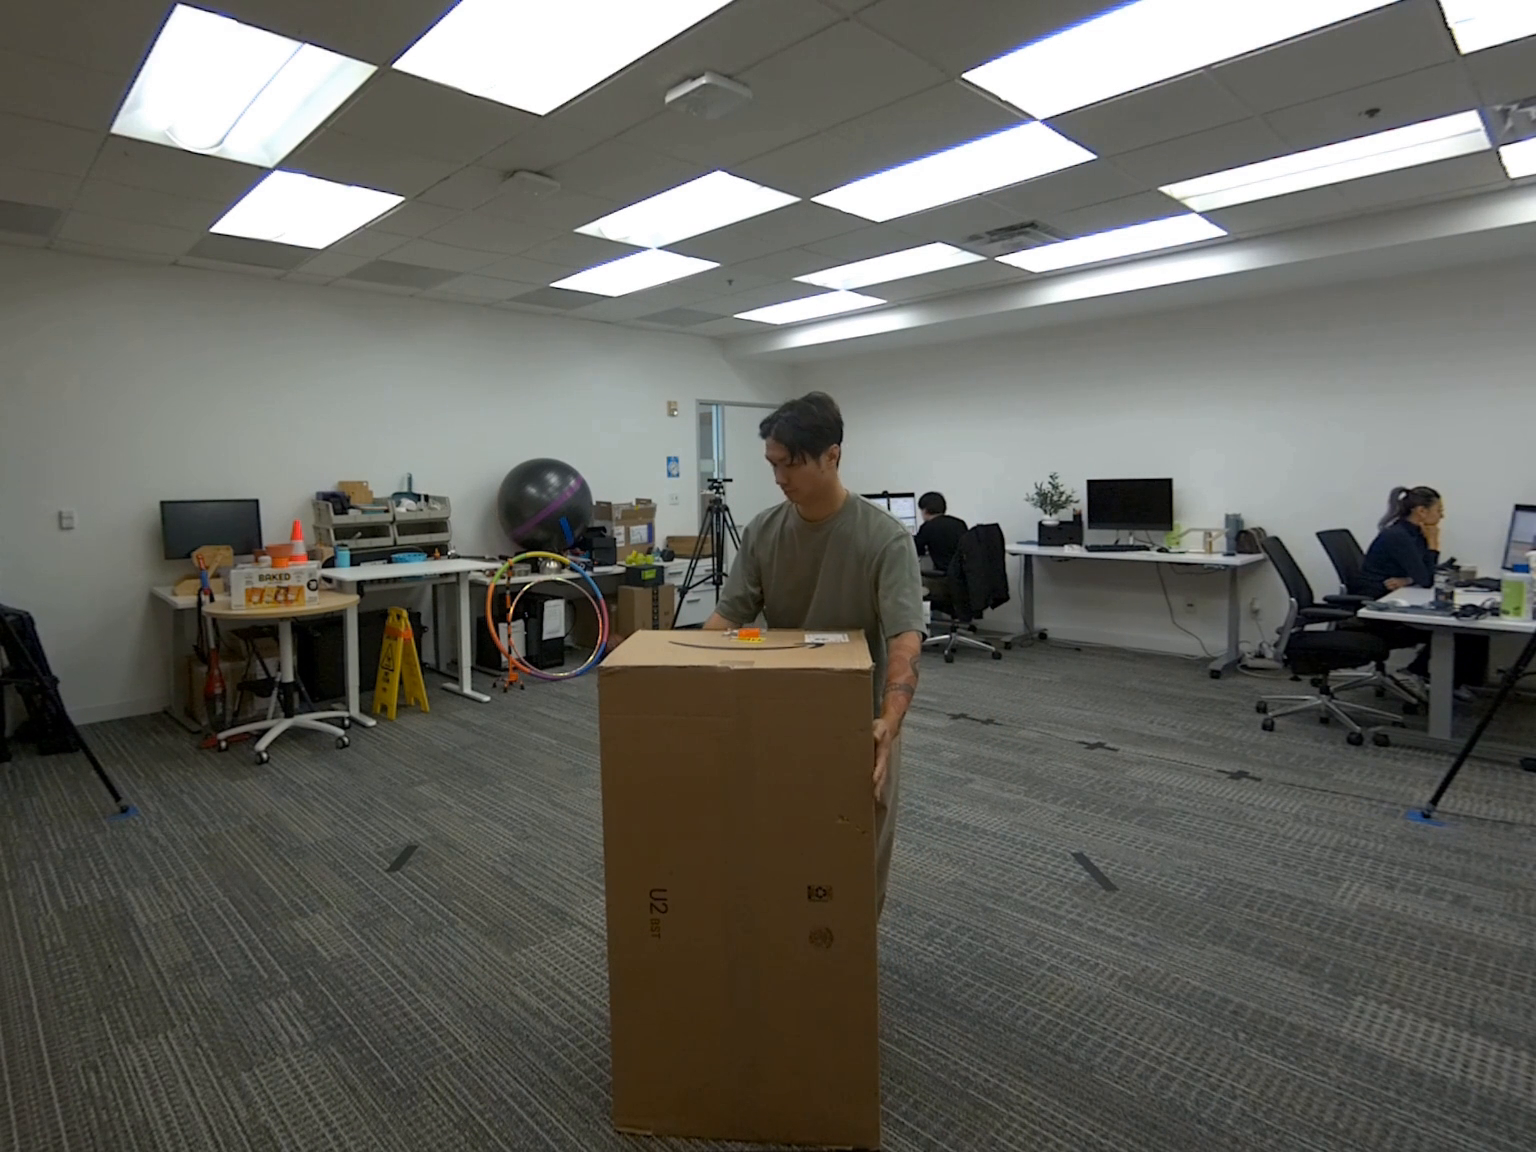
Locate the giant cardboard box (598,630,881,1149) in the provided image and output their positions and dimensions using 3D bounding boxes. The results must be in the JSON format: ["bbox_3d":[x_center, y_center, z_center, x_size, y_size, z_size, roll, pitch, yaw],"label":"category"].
[{"bbox_3d":[-0.034,0.672,1.979,0.580,1.022,0.425,-1,4,5],"label":"giant cardboard box"}]
